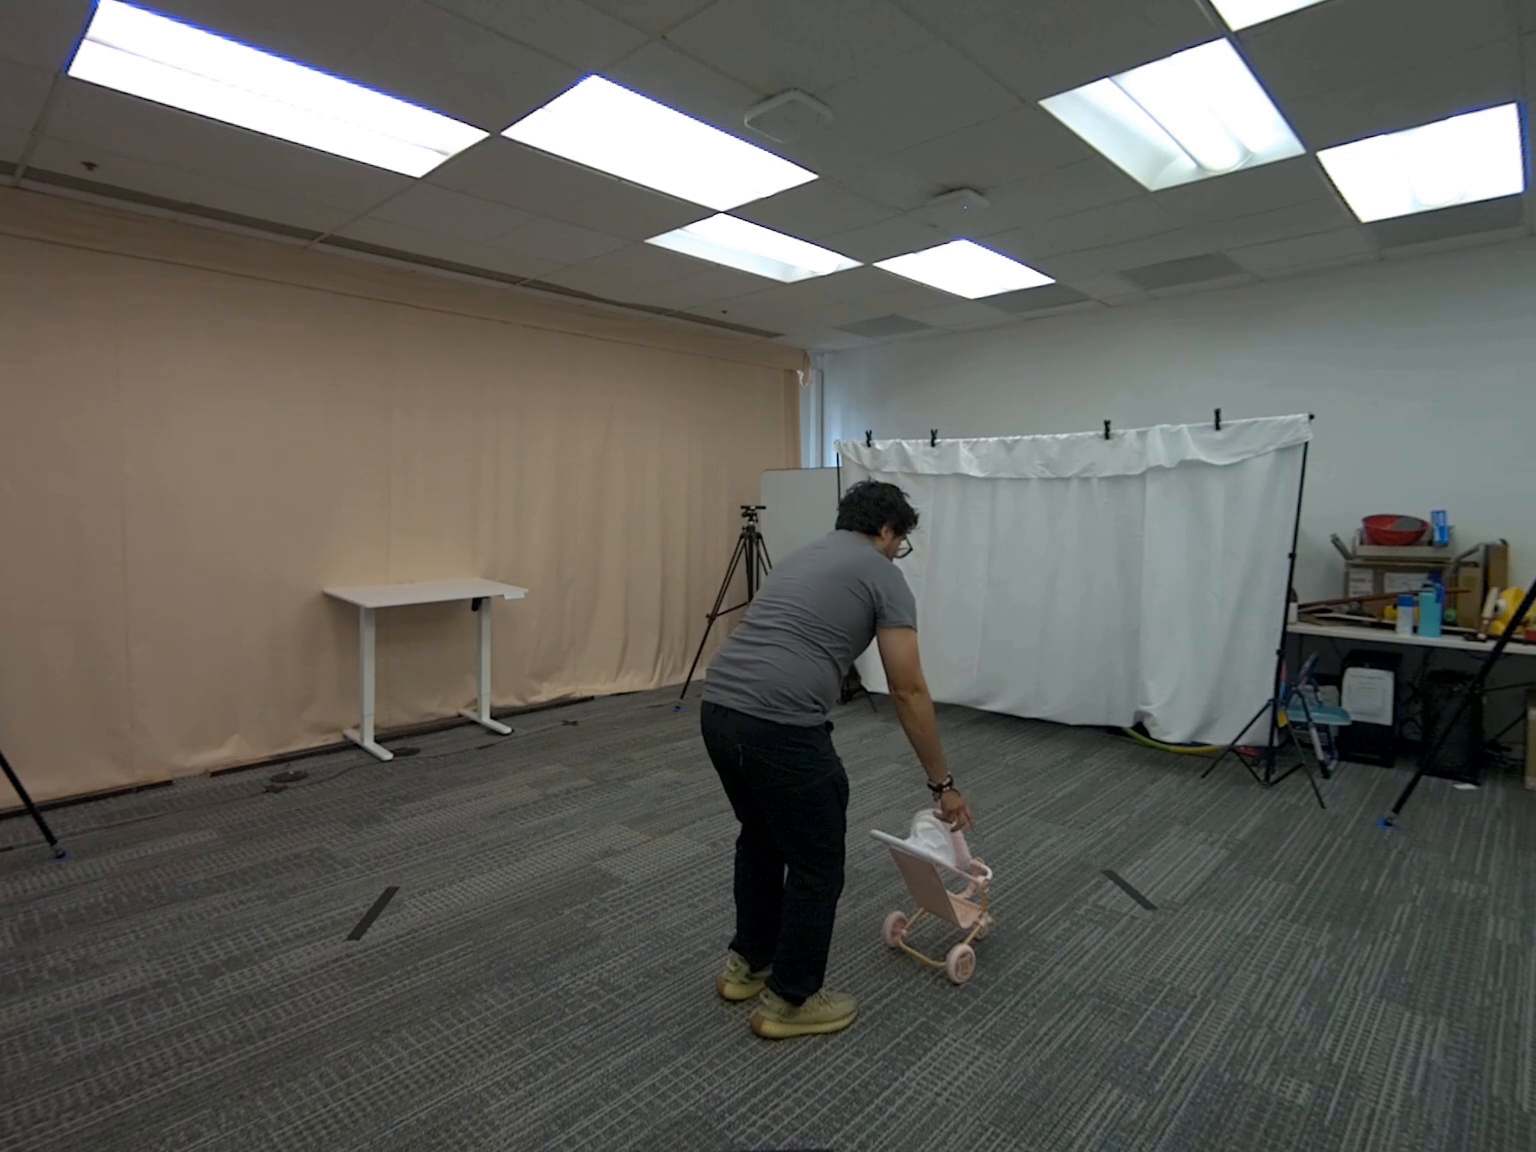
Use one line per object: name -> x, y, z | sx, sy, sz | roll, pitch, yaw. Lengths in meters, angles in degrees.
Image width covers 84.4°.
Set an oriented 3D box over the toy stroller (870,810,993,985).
toy stroller -> 0.537, 0.953, 2.579 | 0.334, 0.529, 0.290 | -21, 15, -32
